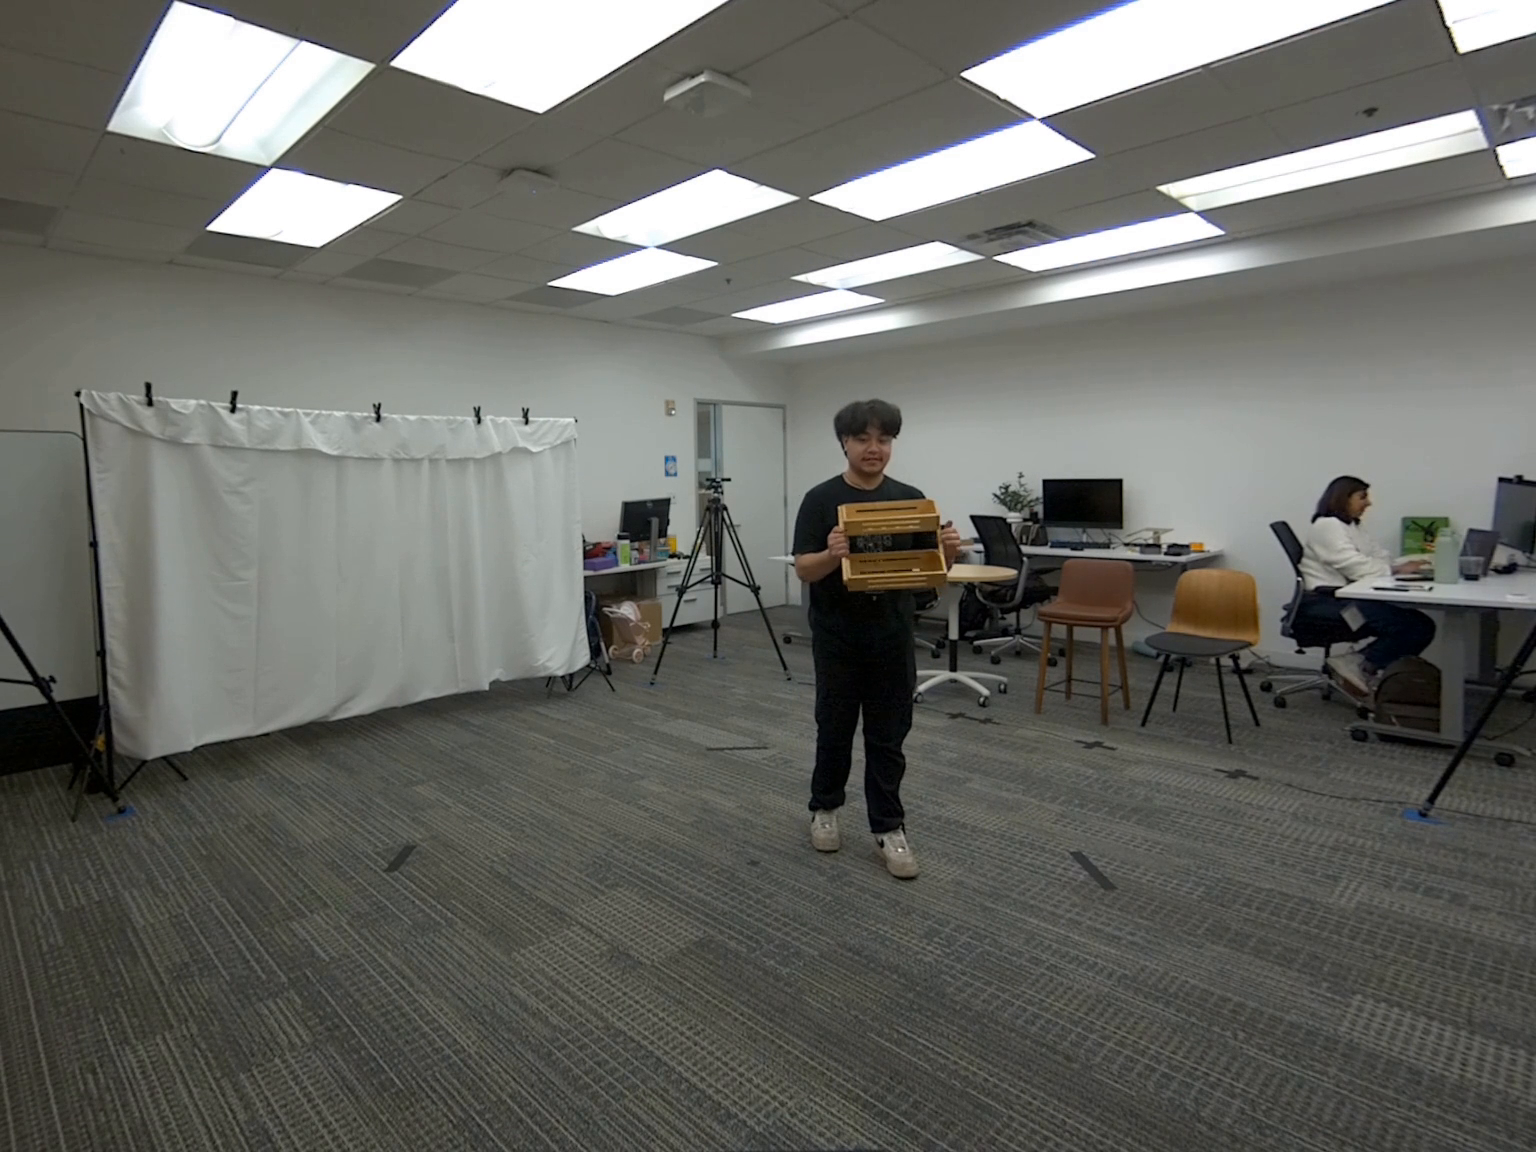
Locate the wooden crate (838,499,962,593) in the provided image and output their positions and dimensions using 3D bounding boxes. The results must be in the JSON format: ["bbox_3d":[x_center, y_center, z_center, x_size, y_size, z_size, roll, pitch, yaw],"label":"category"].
[{"bbox_3d":[0.405,-0.107,2.769,0.326,0.272,0.301,-3,4,6],"label":"wooden crate"}]
